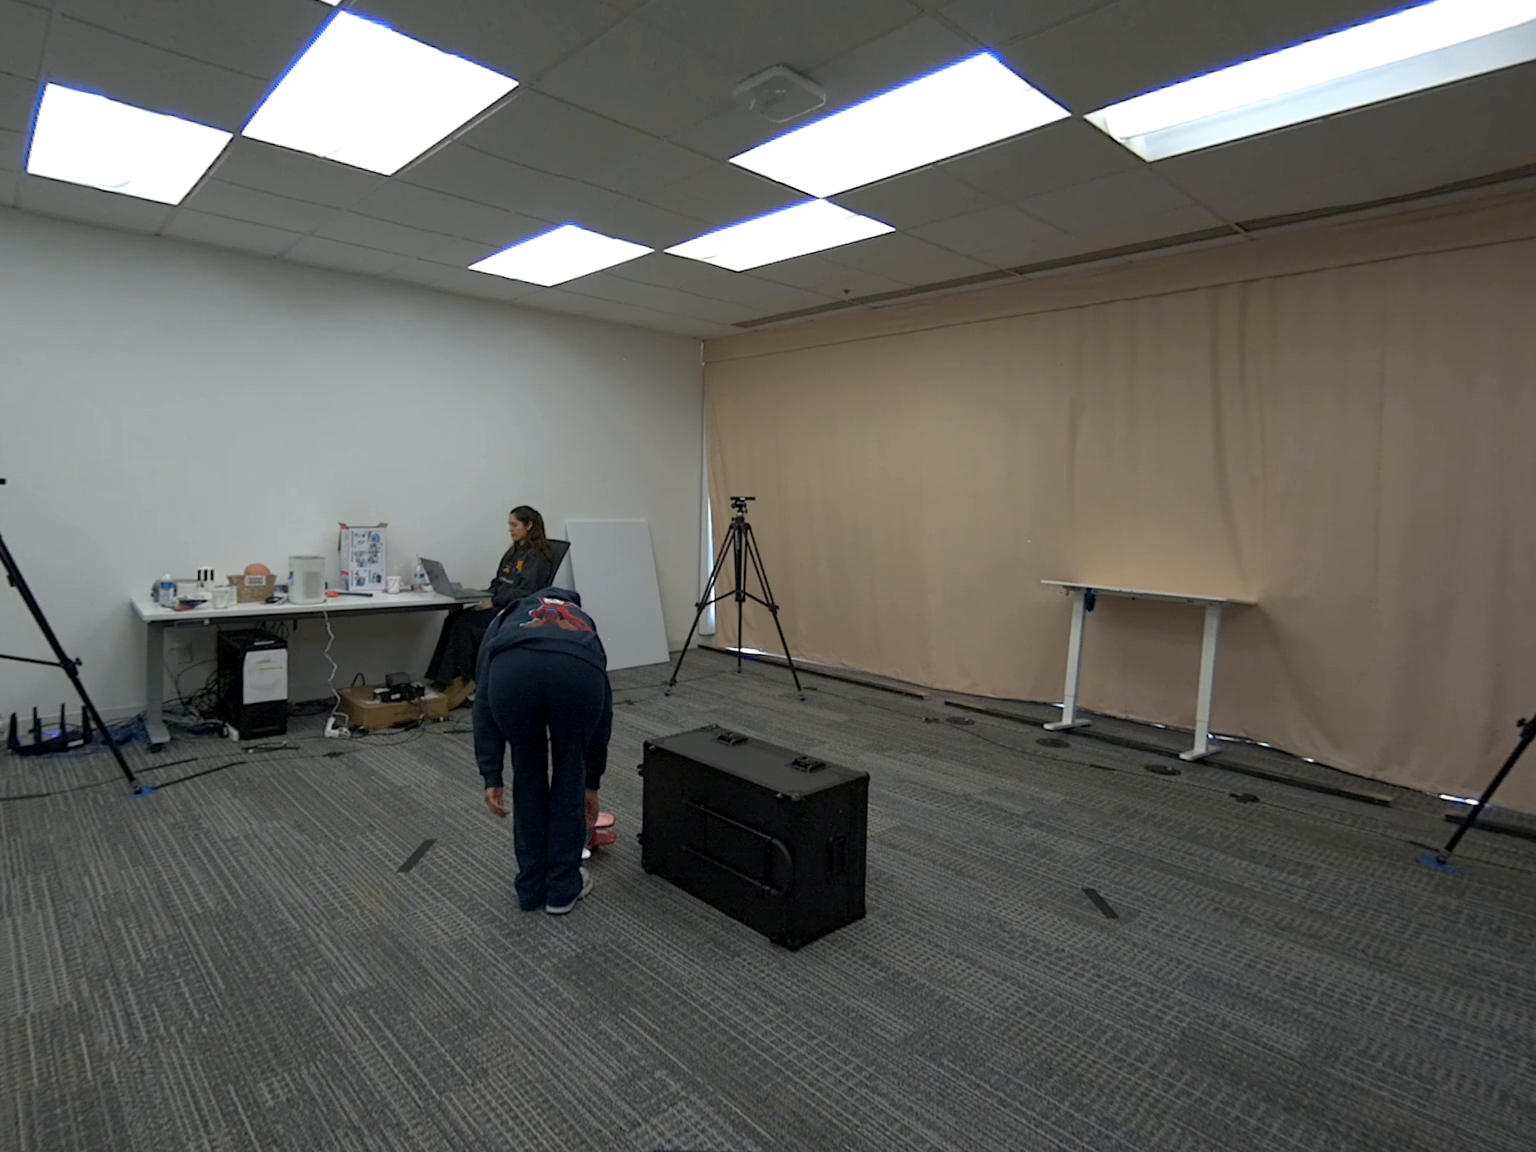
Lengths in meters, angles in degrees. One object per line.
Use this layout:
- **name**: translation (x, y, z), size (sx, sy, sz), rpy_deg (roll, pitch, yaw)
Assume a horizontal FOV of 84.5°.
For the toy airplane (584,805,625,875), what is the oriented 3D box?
- **toy airplane**: translation (-0.707, 1.009, 3.241), size (0.247, 0.156, 0.264), rpy_deg (2, 5, -21)
